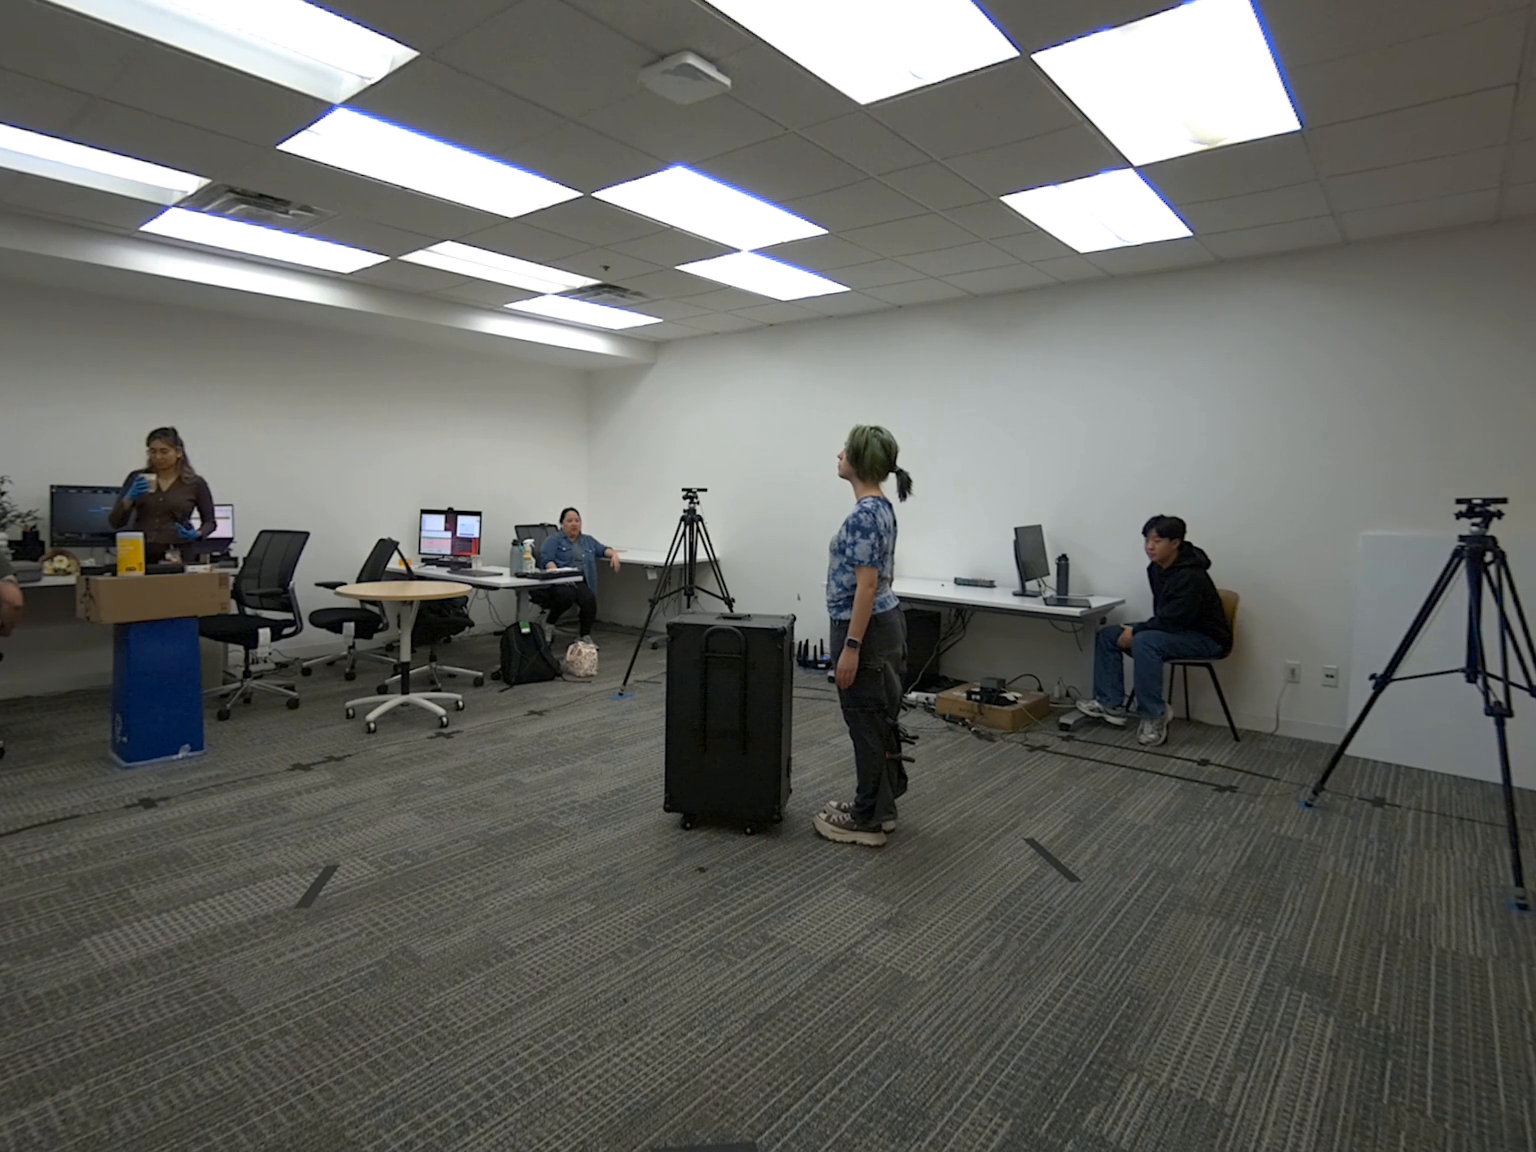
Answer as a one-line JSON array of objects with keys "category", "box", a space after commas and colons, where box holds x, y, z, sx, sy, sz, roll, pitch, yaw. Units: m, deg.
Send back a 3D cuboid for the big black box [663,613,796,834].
[{"category": "big black box", "box": [-0.161, 0.605, 3.569, 0.528, 0.858, 0.392, 2, 4, 11]}]
